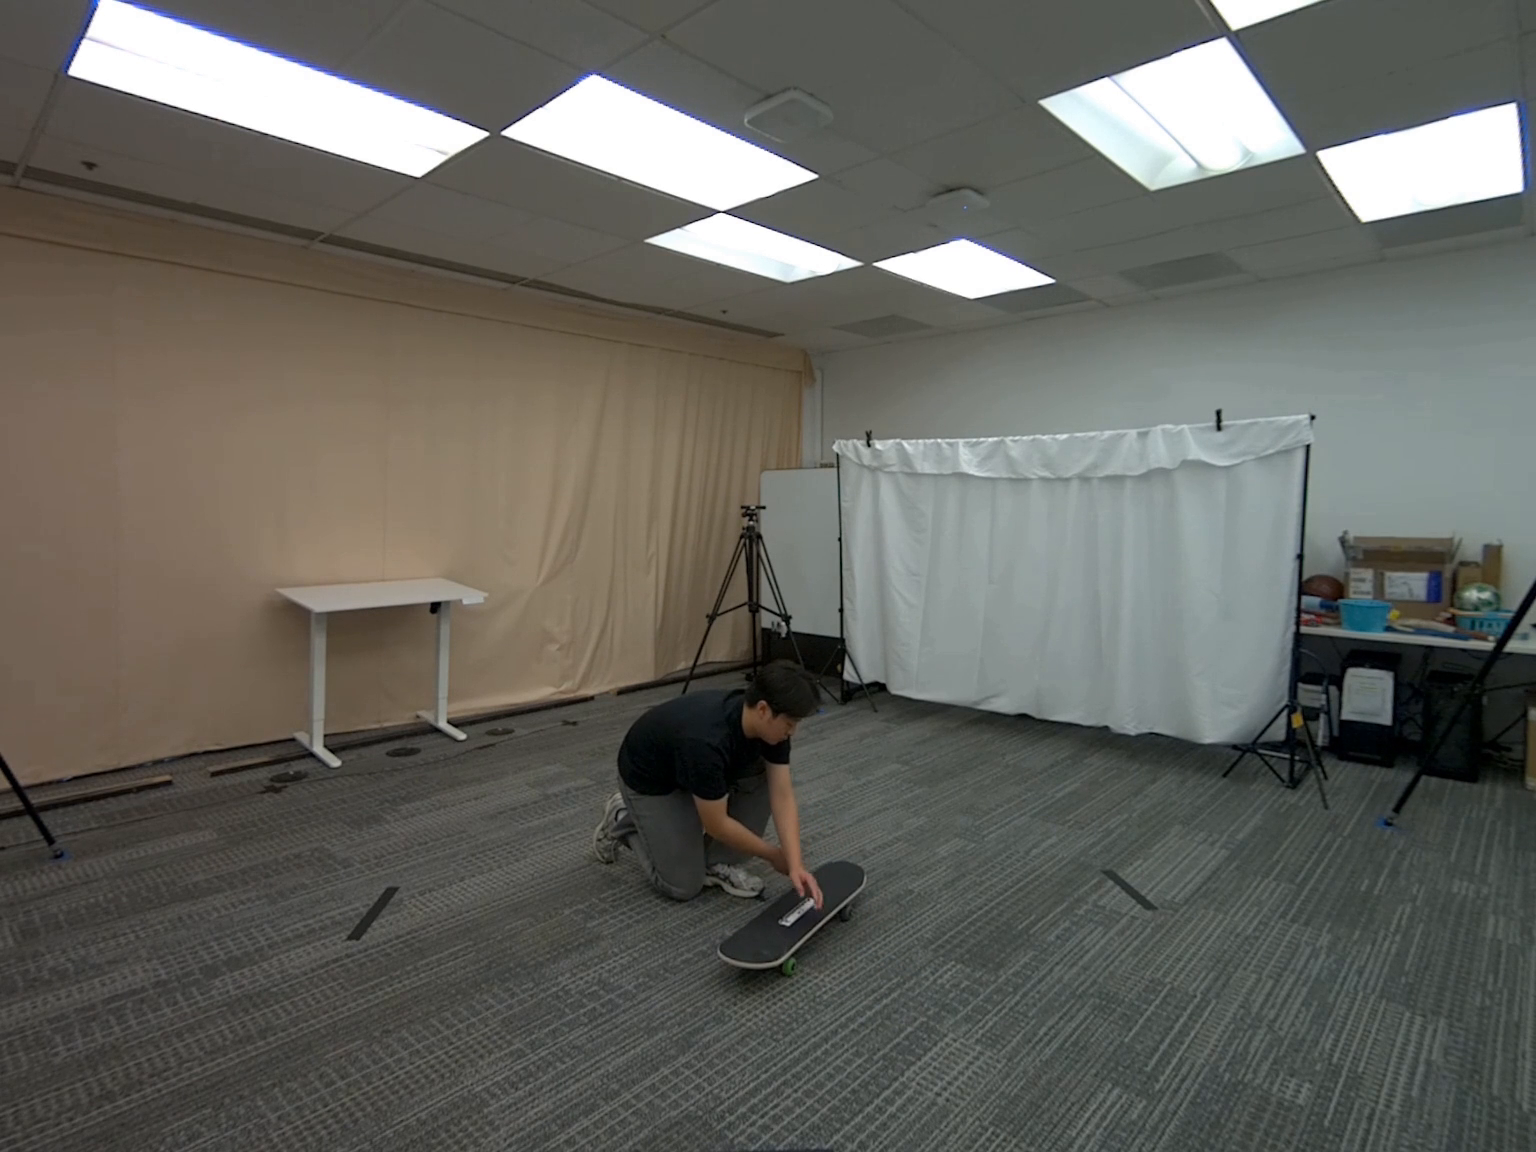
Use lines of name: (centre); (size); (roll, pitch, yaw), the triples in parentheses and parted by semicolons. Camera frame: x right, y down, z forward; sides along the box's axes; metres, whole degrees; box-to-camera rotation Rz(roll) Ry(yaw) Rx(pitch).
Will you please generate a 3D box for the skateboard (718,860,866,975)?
skateboard: (0.098, 1.103, 2.715); (0.199, 0.110, 0.764); (2, 6, 31)
